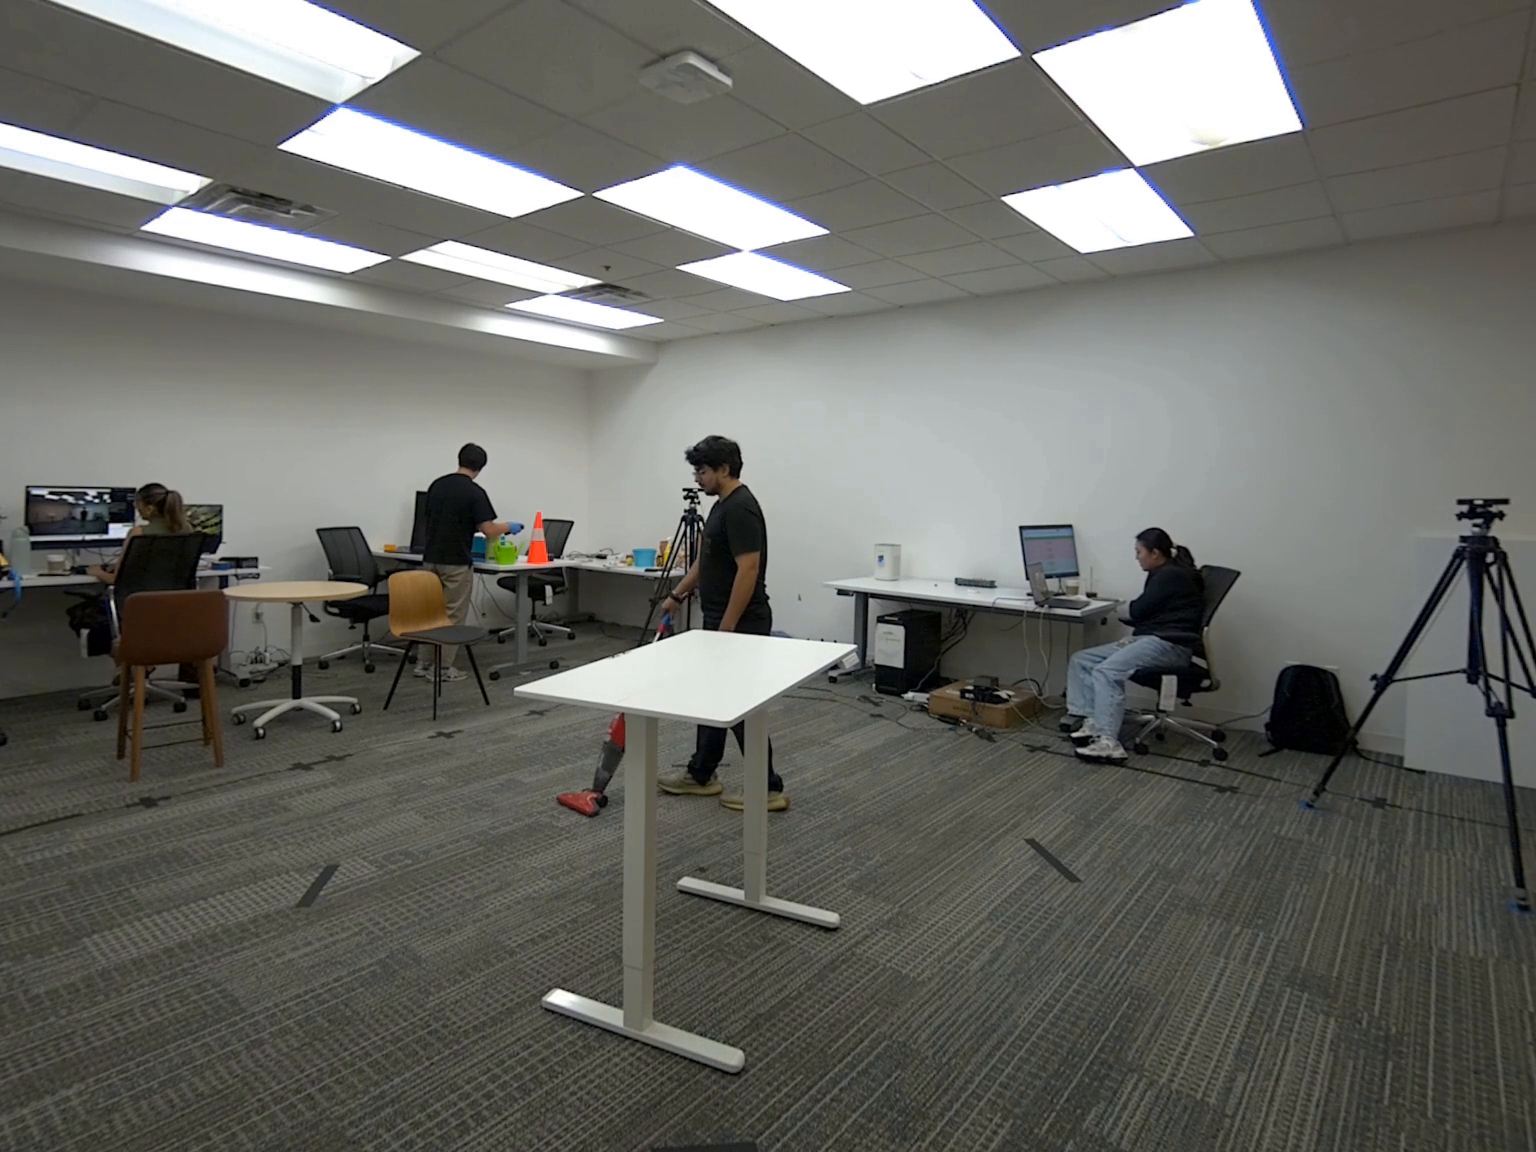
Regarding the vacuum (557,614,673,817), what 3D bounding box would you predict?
[{"bbox_3d":[-0.617,0.547,3.897,0.261,1.058,0.138,5,-28,41],"label":"vacuum"}]
